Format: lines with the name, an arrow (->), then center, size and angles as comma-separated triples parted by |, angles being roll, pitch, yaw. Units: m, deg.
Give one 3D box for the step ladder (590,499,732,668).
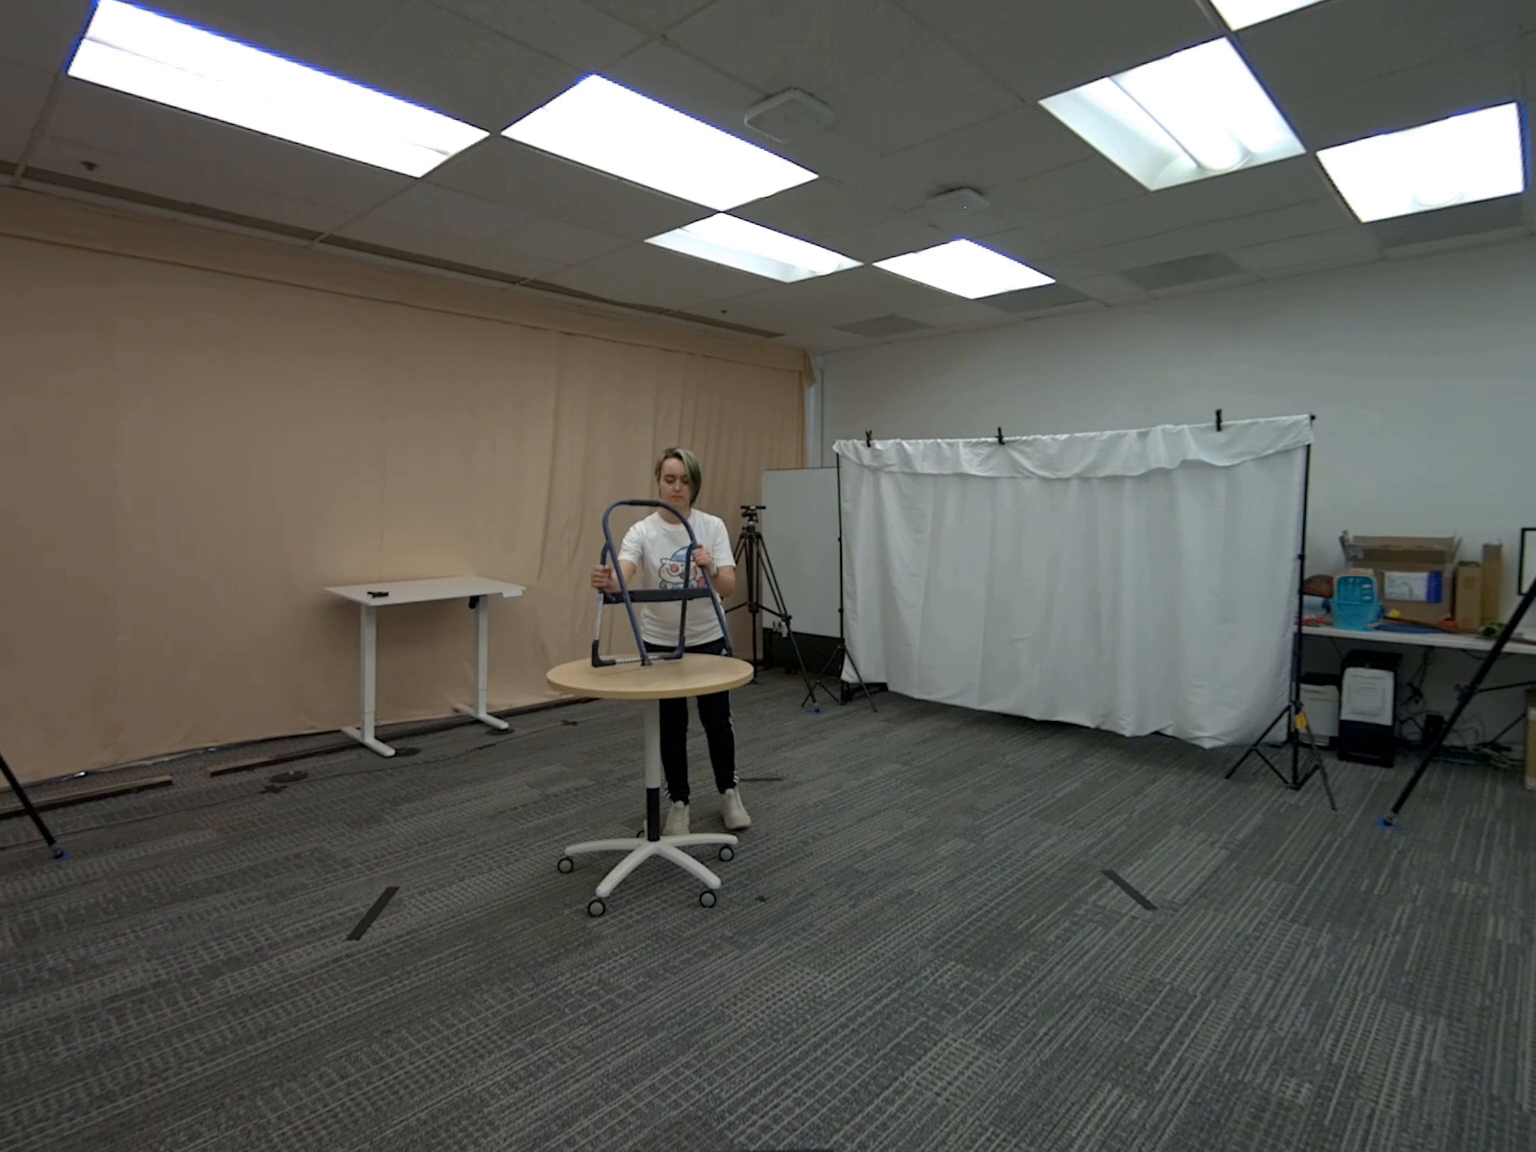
step ladder -> -0.386, 0.010, 3.077 | 0.417, 0.608, 0.359 | 0, -7, -44
